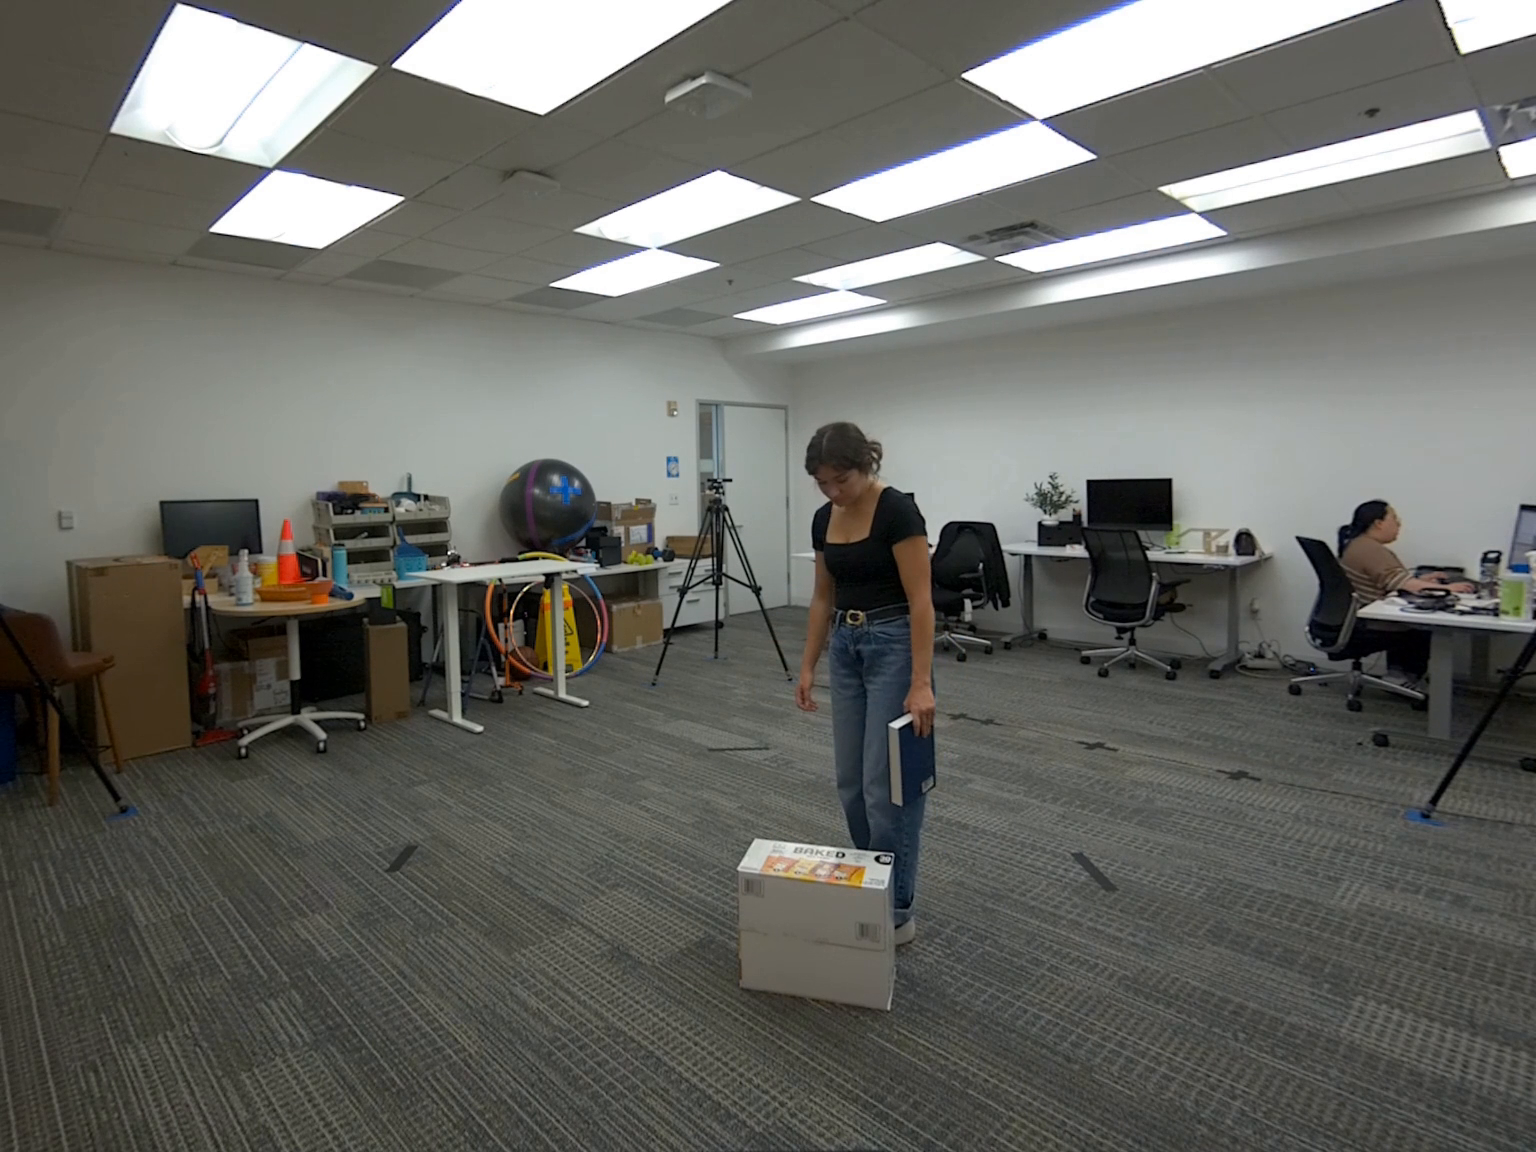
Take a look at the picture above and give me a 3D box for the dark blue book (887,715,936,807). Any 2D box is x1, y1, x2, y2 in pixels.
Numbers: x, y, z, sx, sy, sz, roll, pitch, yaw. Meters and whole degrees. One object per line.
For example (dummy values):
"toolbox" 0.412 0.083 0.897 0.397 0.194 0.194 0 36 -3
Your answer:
"dark blue book" 0.406 0.512 2.412 0.160 0.242 0.047 -16 17 -40
